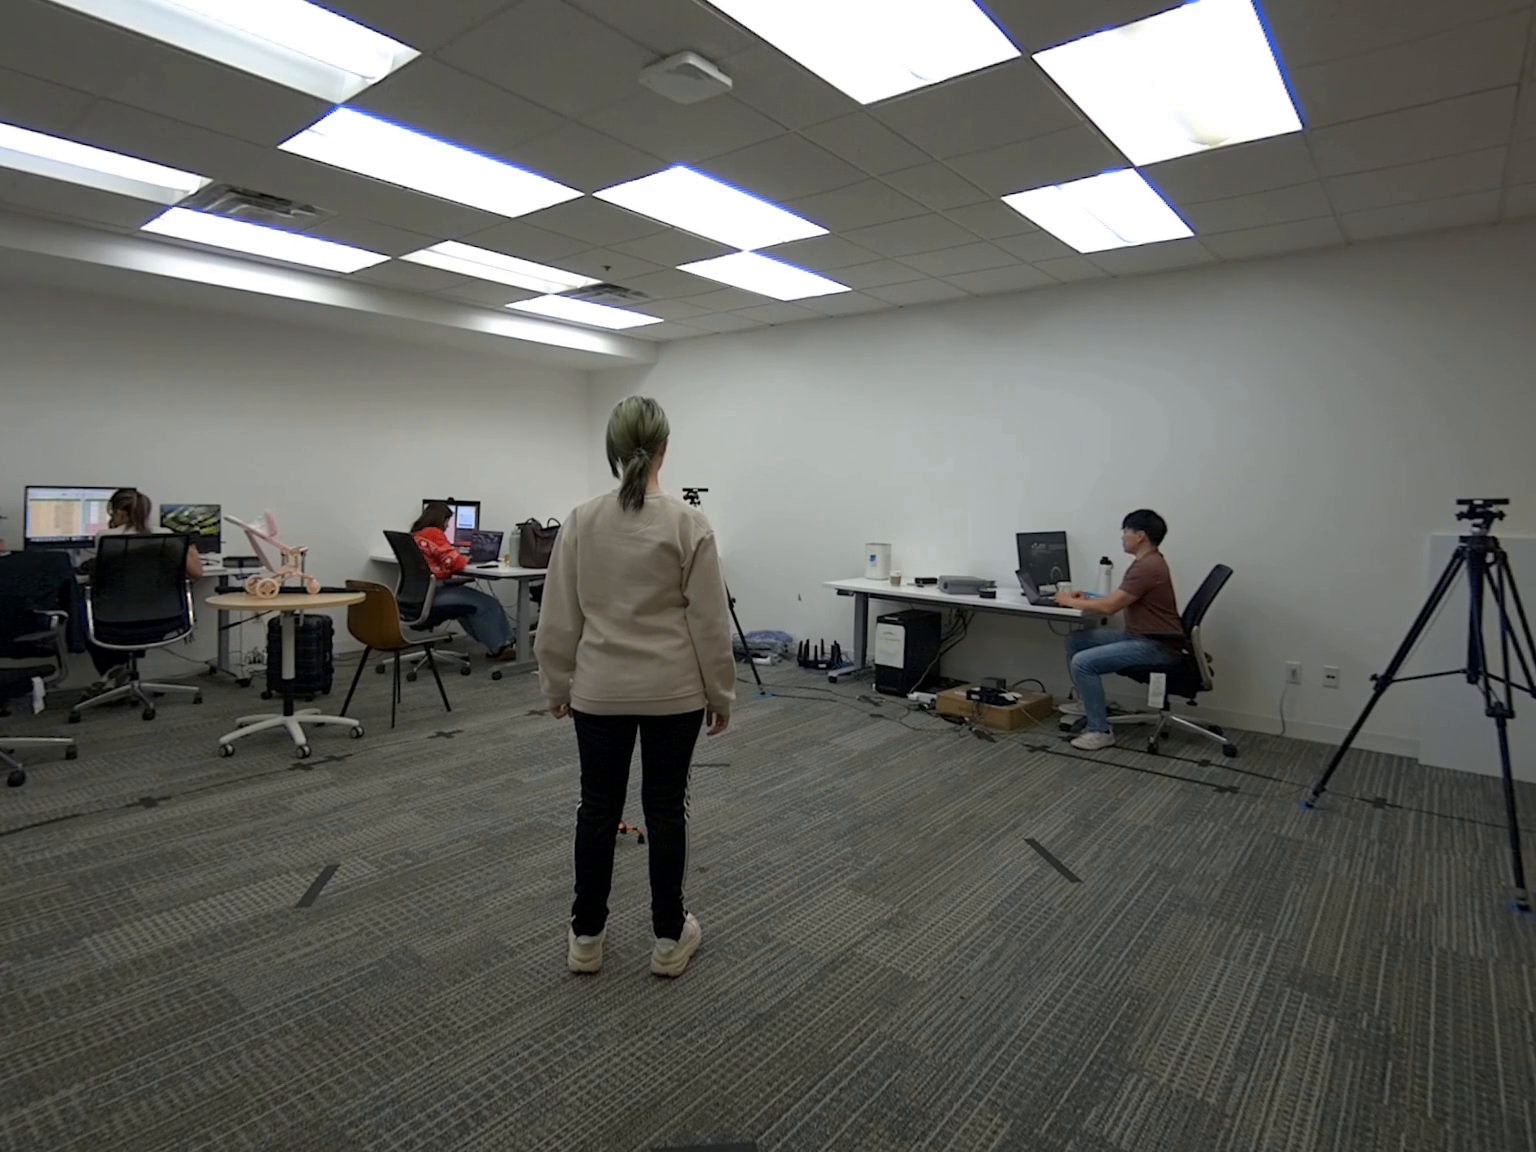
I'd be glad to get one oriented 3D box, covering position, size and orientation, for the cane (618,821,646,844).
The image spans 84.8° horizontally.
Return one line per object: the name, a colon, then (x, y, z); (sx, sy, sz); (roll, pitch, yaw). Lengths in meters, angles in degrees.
cane: (-0.600, 0.586, 3.305); (0.200, 0.905, 0.157); (-1, 4, -43)
